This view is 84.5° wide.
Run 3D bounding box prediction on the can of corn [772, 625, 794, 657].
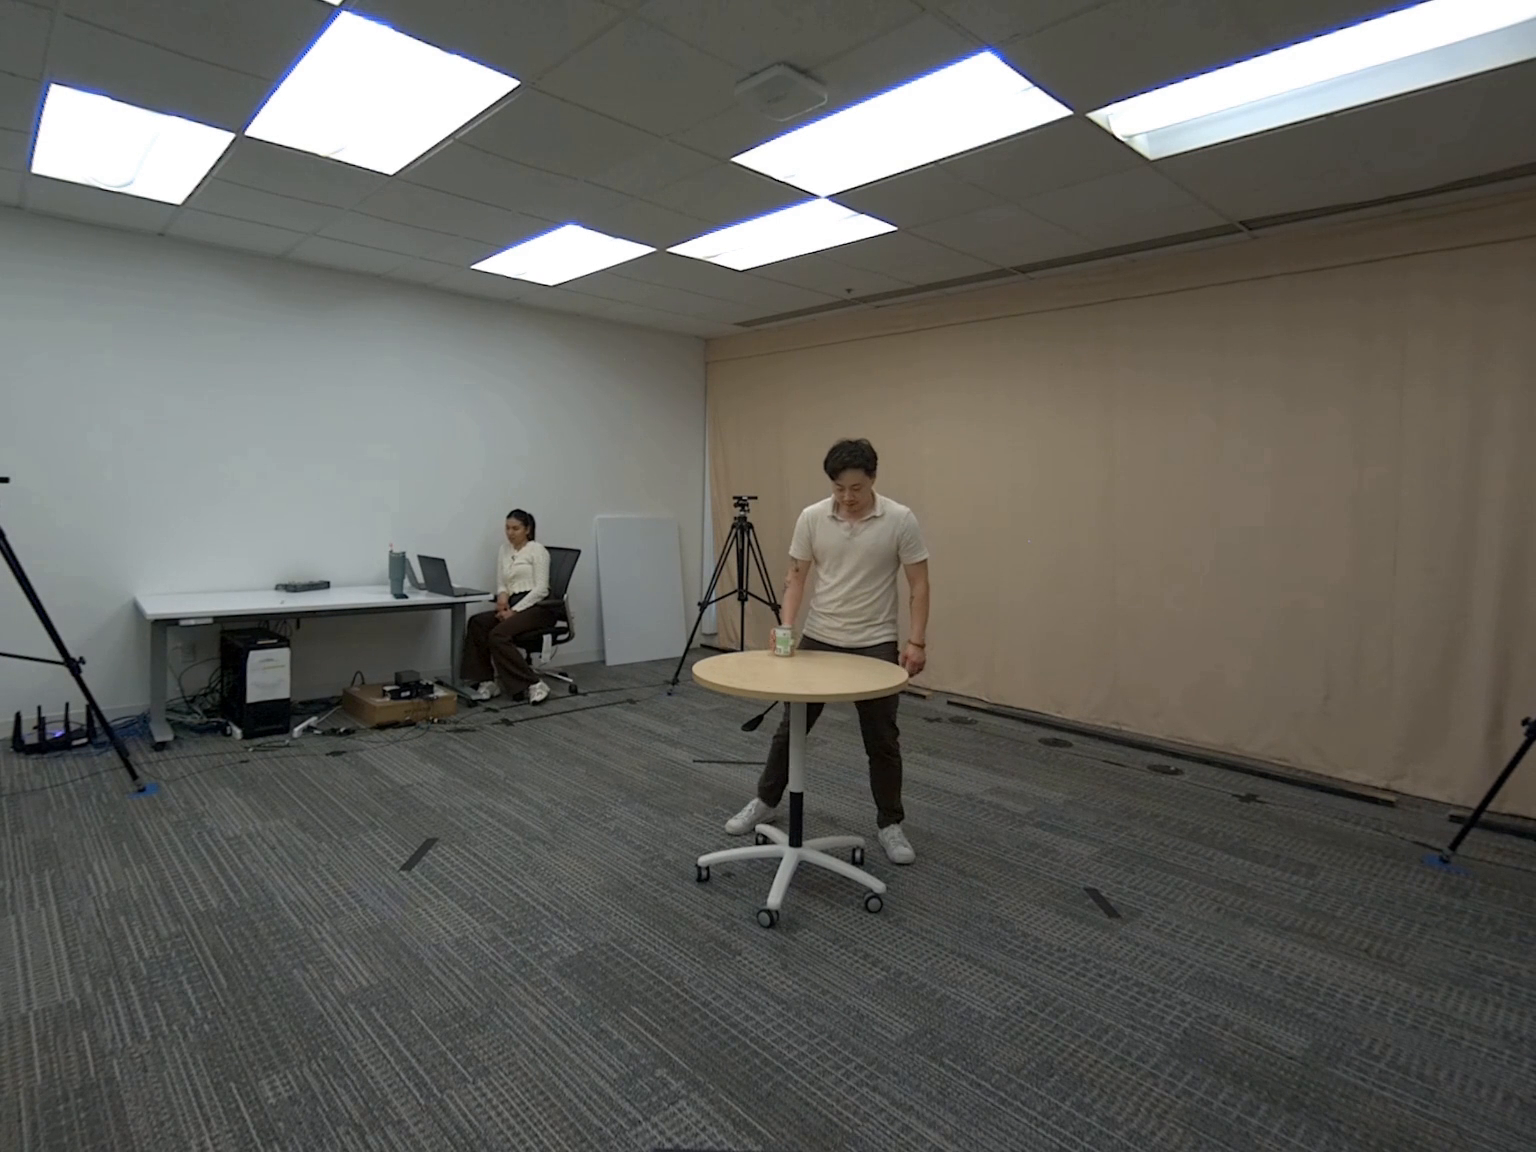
[{"bbox_3d":[0.052,0.255,3.268,0.074,0.111,0.074,4,2,-2],"label":"can of corn"}]
